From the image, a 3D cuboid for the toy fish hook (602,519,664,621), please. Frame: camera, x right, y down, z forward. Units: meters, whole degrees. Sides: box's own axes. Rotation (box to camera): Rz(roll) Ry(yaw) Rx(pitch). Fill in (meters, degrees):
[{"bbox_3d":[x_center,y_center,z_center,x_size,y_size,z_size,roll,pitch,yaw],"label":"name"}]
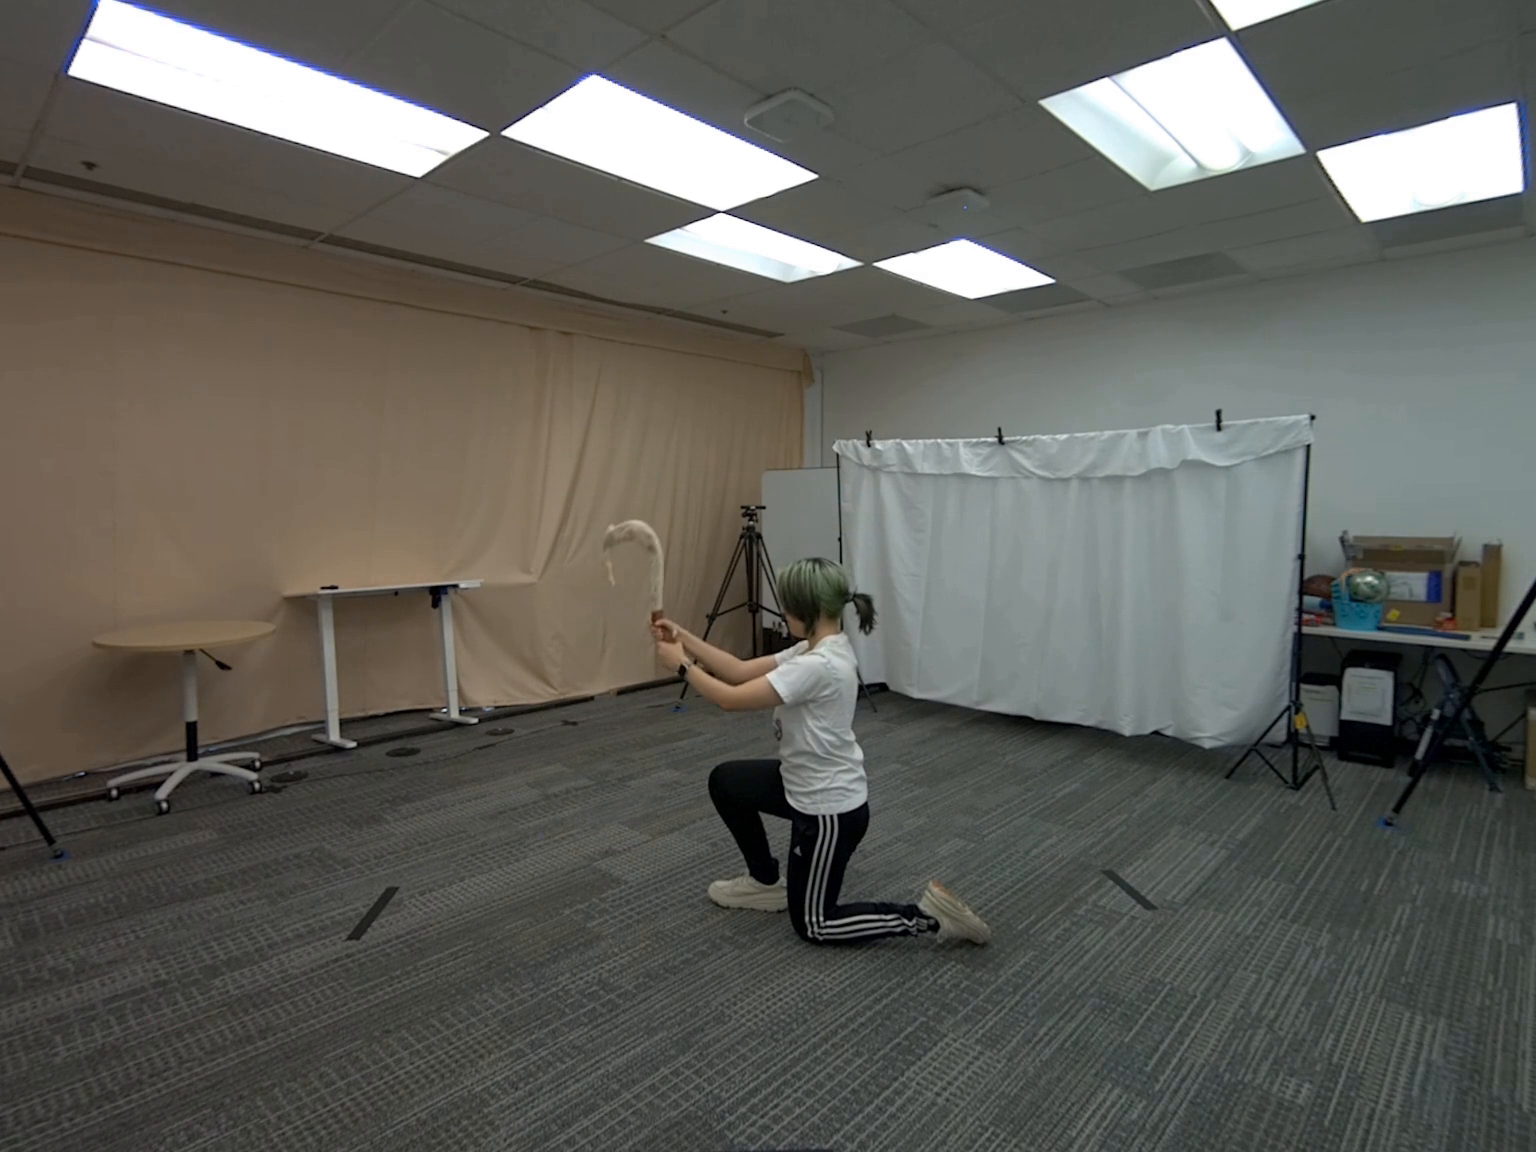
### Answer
[{"bbox_3d":[-0.412,0.083,2.773,0.228,0.506,0.047,-12,1,20],"label":"toy fish hook"}]
